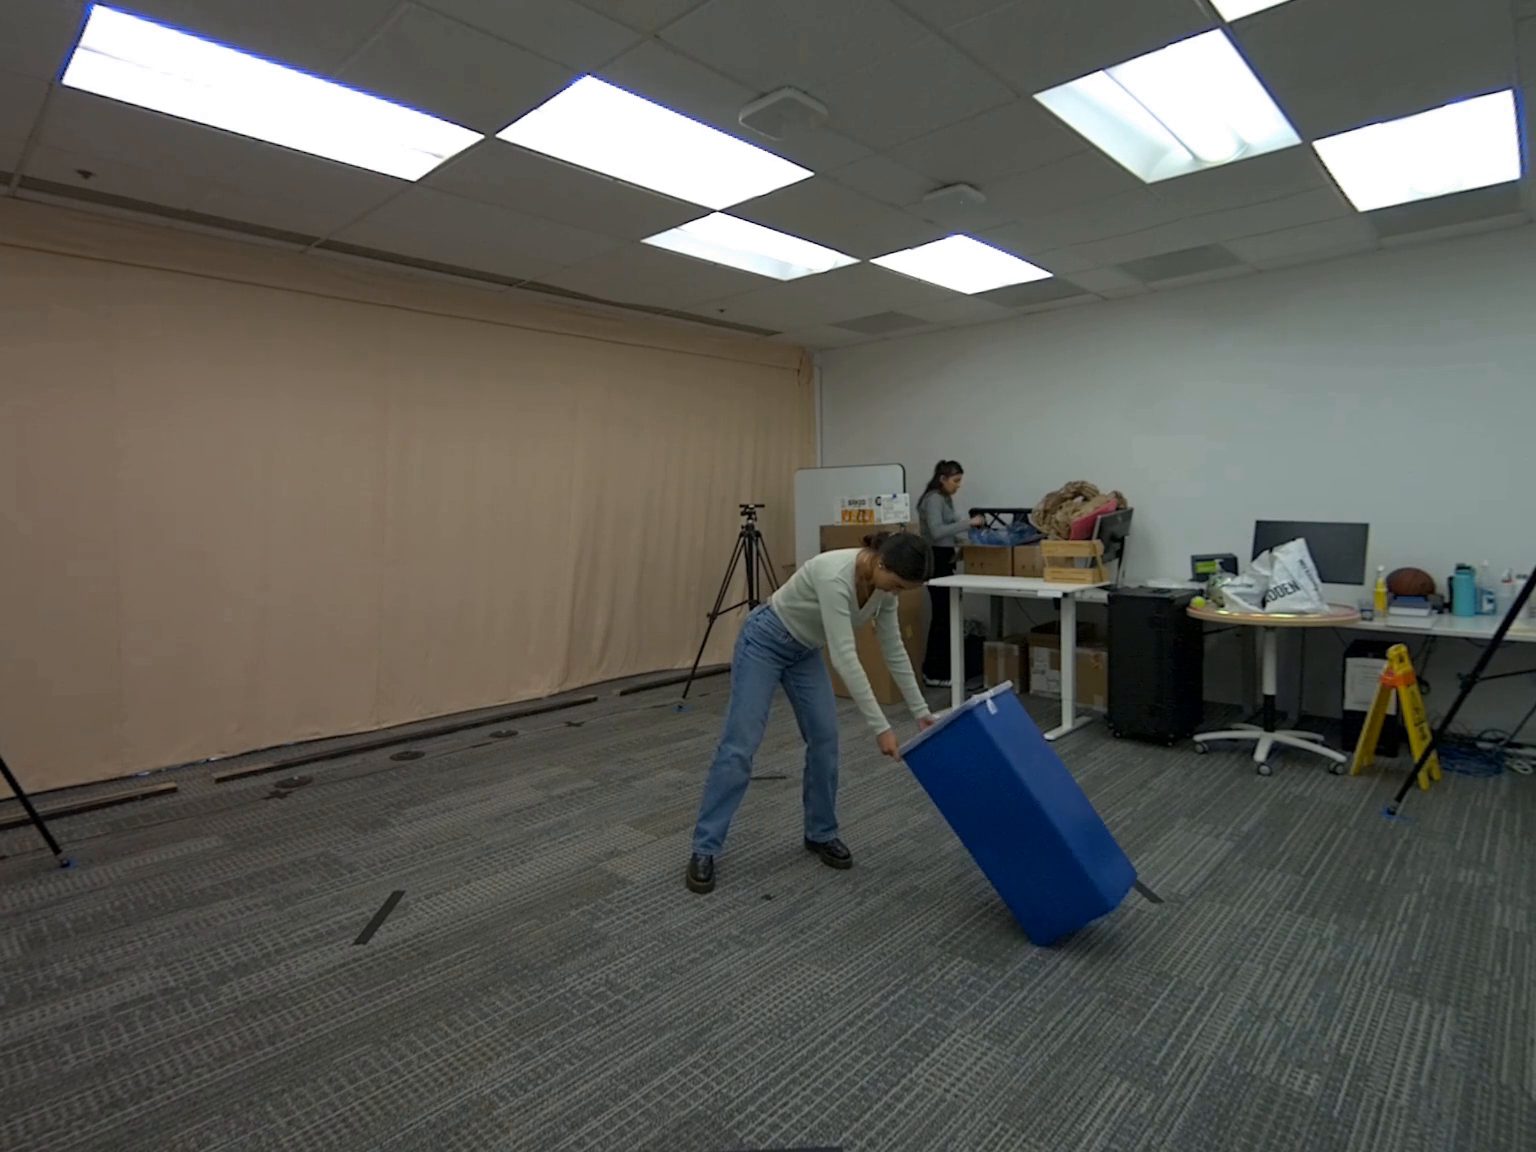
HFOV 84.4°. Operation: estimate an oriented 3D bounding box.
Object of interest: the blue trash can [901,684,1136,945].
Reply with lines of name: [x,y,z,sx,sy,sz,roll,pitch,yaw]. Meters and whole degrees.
blue trash can: [0.808,0.771,2.793,0.377,0.729,0.367,-44,-23,31]
